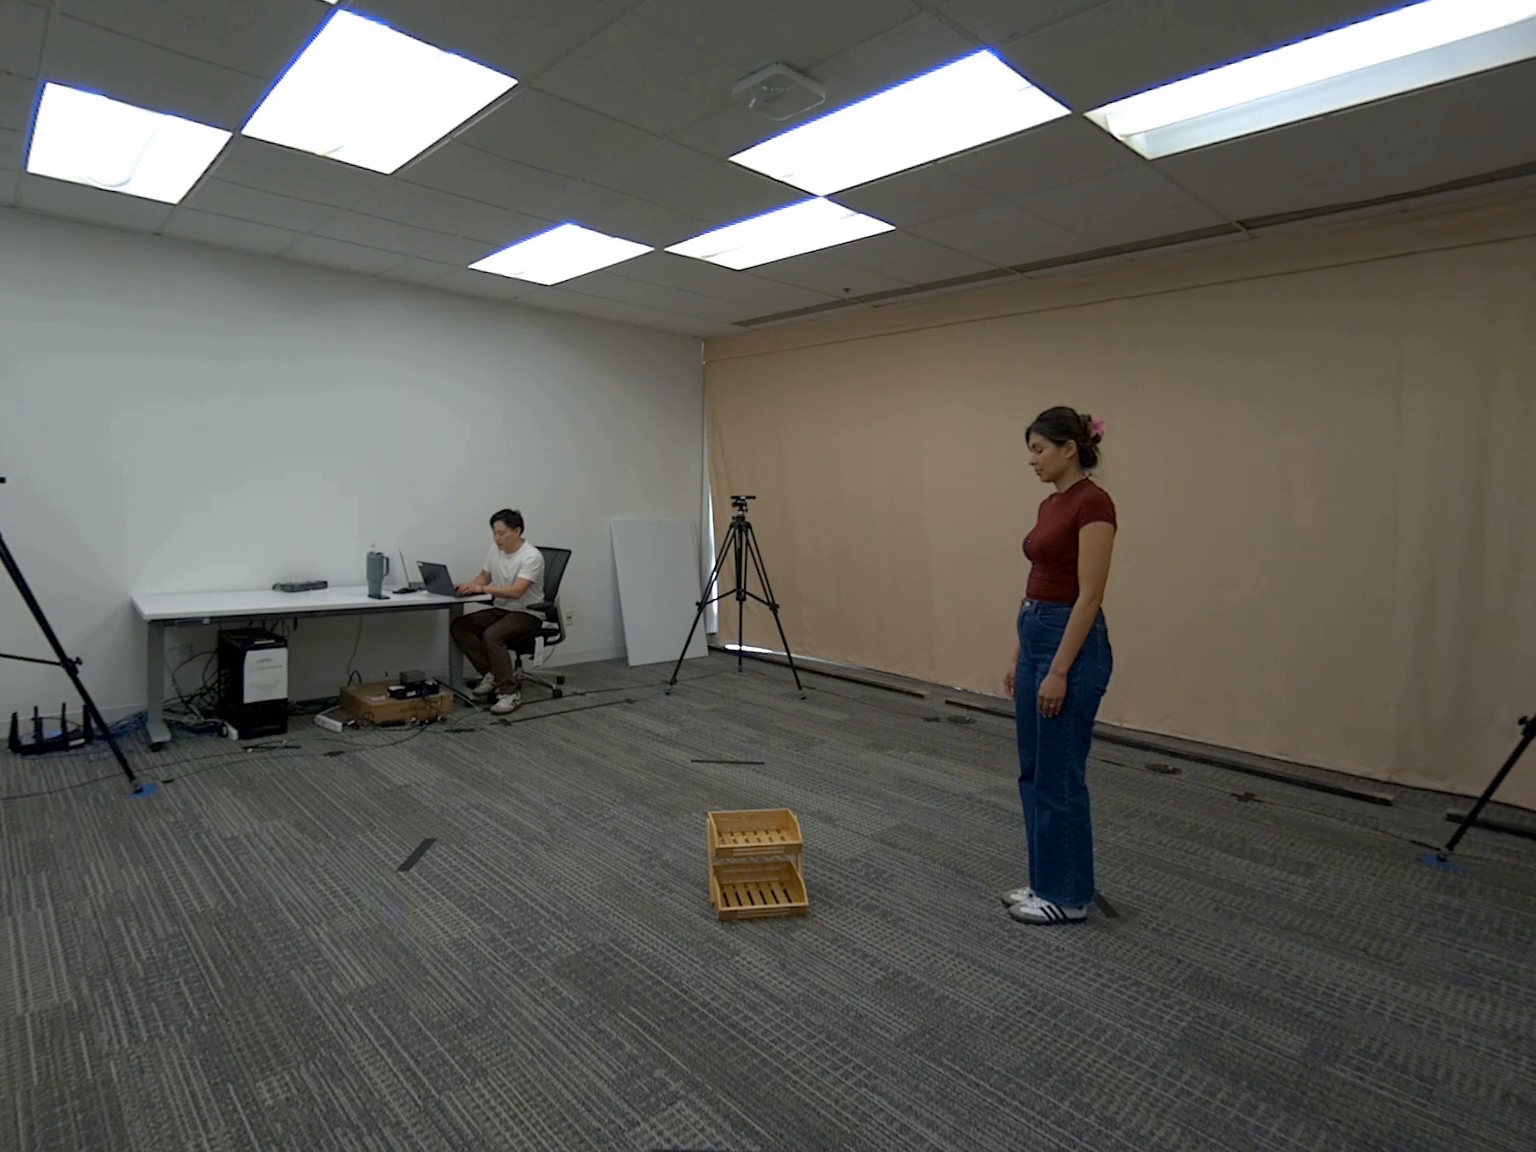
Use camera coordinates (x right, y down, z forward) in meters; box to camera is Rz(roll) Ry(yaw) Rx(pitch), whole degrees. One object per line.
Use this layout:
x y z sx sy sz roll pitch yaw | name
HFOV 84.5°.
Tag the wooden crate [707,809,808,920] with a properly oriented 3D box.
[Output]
-0.045 0.983 2.905 0.322 0.272 0.305 0 4 -11 | wooden crate
